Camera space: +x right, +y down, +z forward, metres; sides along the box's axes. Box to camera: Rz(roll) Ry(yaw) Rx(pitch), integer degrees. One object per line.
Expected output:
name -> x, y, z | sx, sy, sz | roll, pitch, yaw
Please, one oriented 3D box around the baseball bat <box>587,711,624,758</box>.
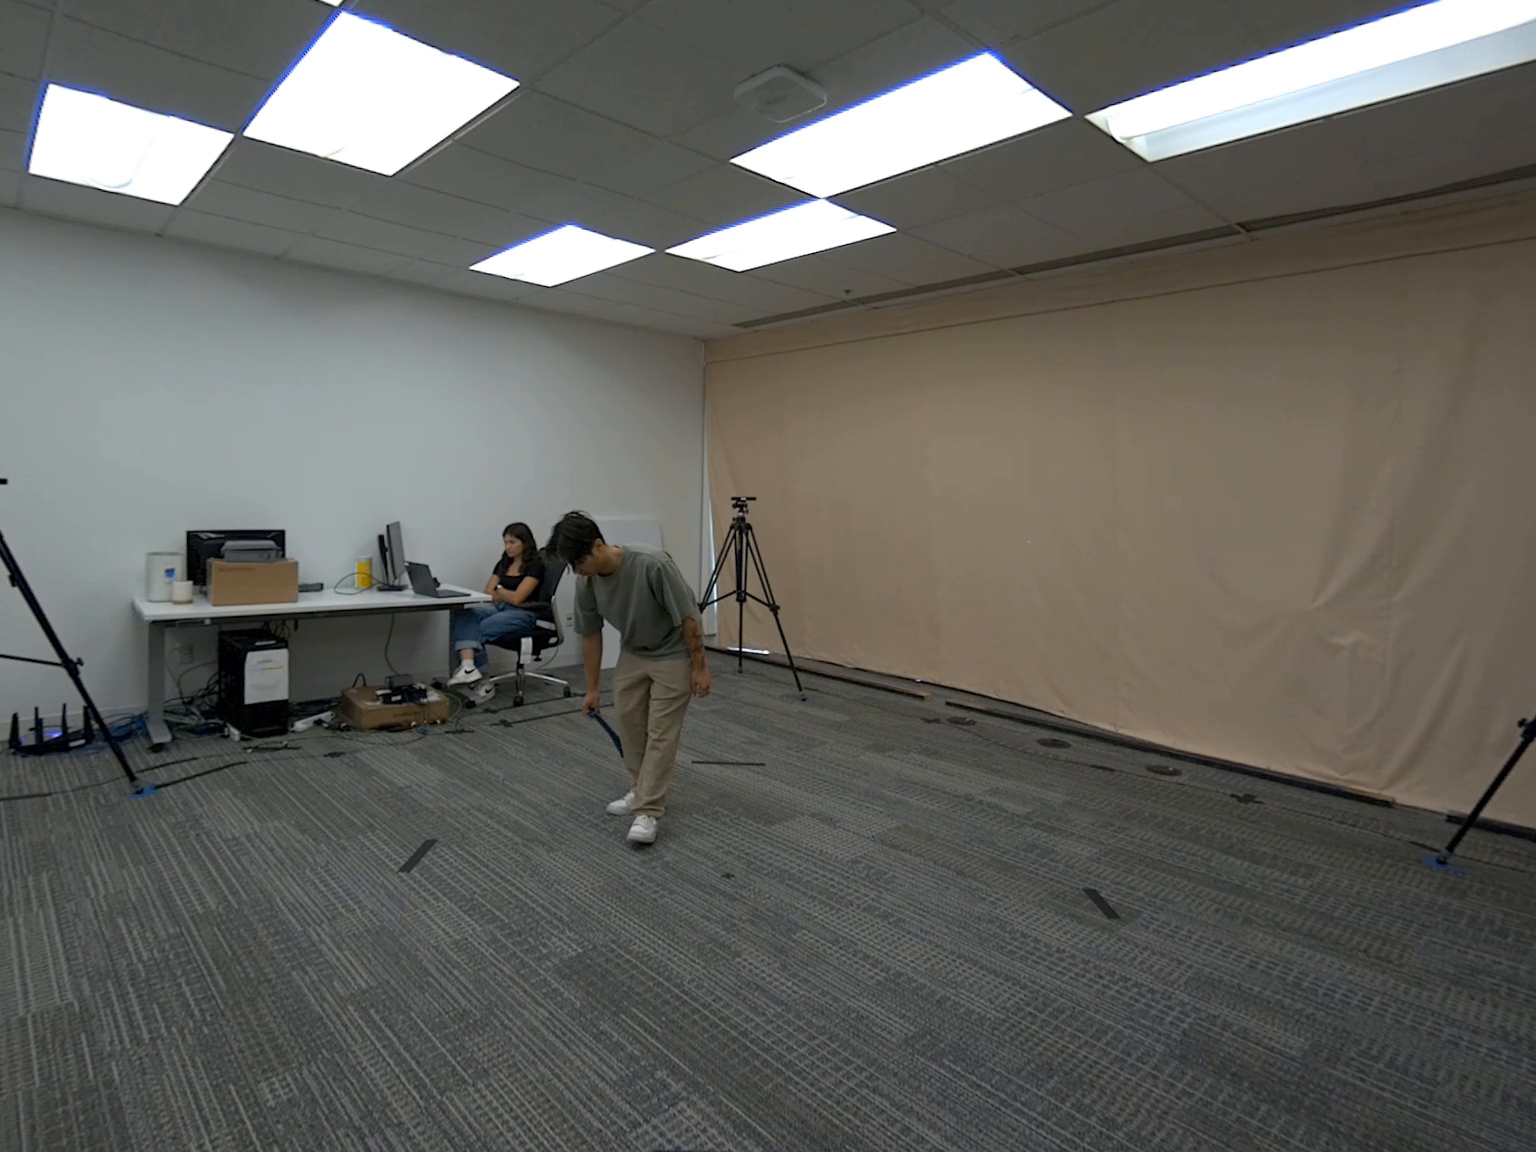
baseball bat -> -0.679, 0.804, 3.885 | 0.089, 0.529, 0.091 | -26, 28, 14
